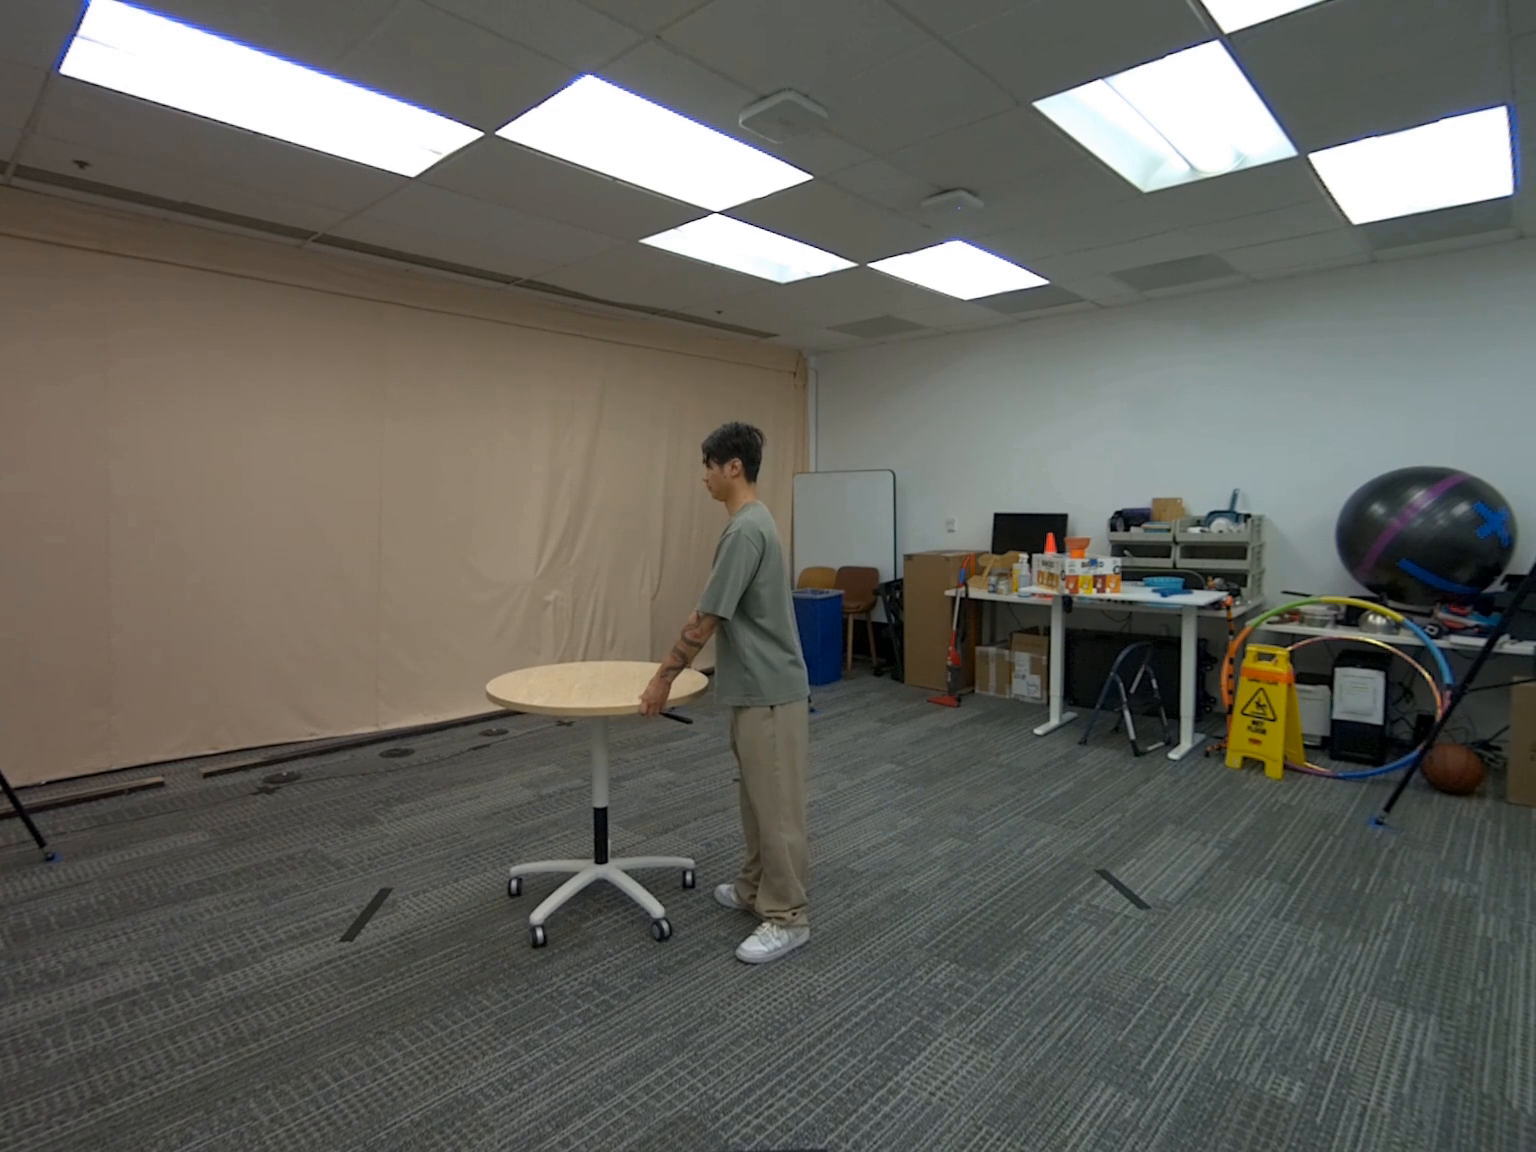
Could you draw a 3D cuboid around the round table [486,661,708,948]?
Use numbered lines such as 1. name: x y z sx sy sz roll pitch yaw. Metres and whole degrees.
1. round table: -0.601 0.760 2.960 0.784 0.785 0.787 0 3 -2
